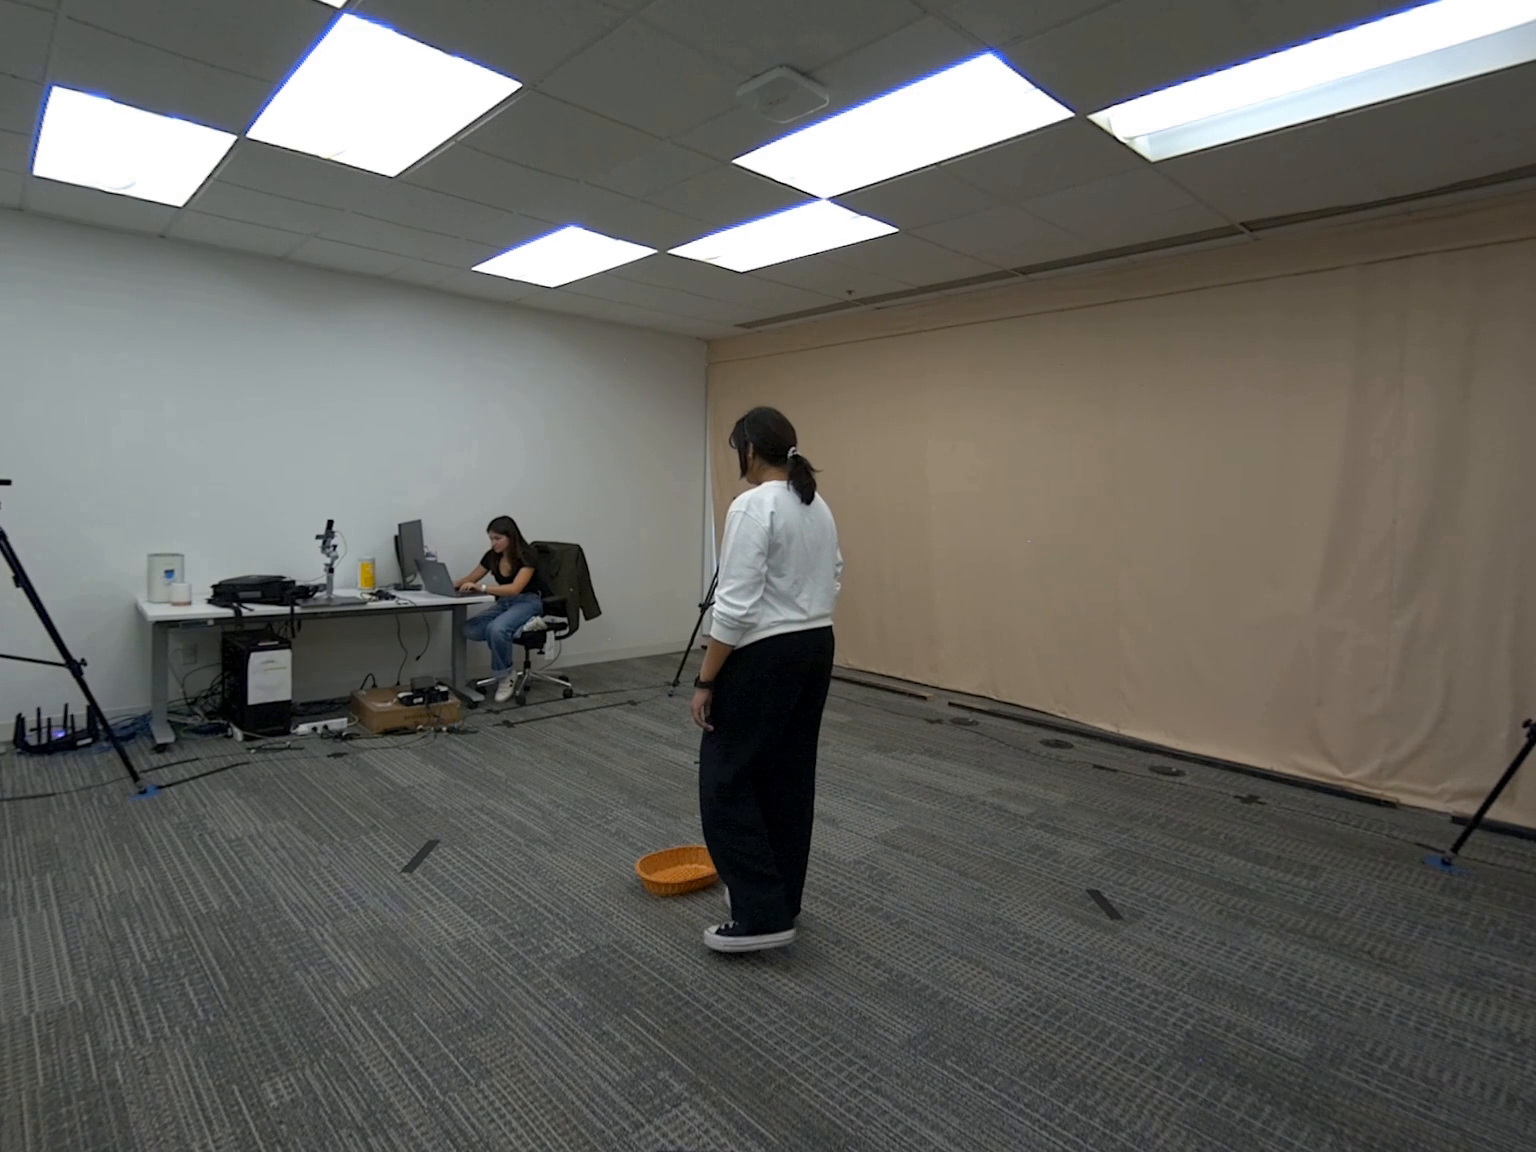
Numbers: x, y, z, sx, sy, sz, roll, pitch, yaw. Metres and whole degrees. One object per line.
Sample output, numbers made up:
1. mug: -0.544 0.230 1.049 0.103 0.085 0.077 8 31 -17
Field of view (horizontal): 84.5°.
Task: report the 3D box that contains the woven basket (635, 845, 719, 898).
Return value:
1. woven basket: -0.316 1.070 3.045 0.343 0.073 0.259 -2 7 -32
